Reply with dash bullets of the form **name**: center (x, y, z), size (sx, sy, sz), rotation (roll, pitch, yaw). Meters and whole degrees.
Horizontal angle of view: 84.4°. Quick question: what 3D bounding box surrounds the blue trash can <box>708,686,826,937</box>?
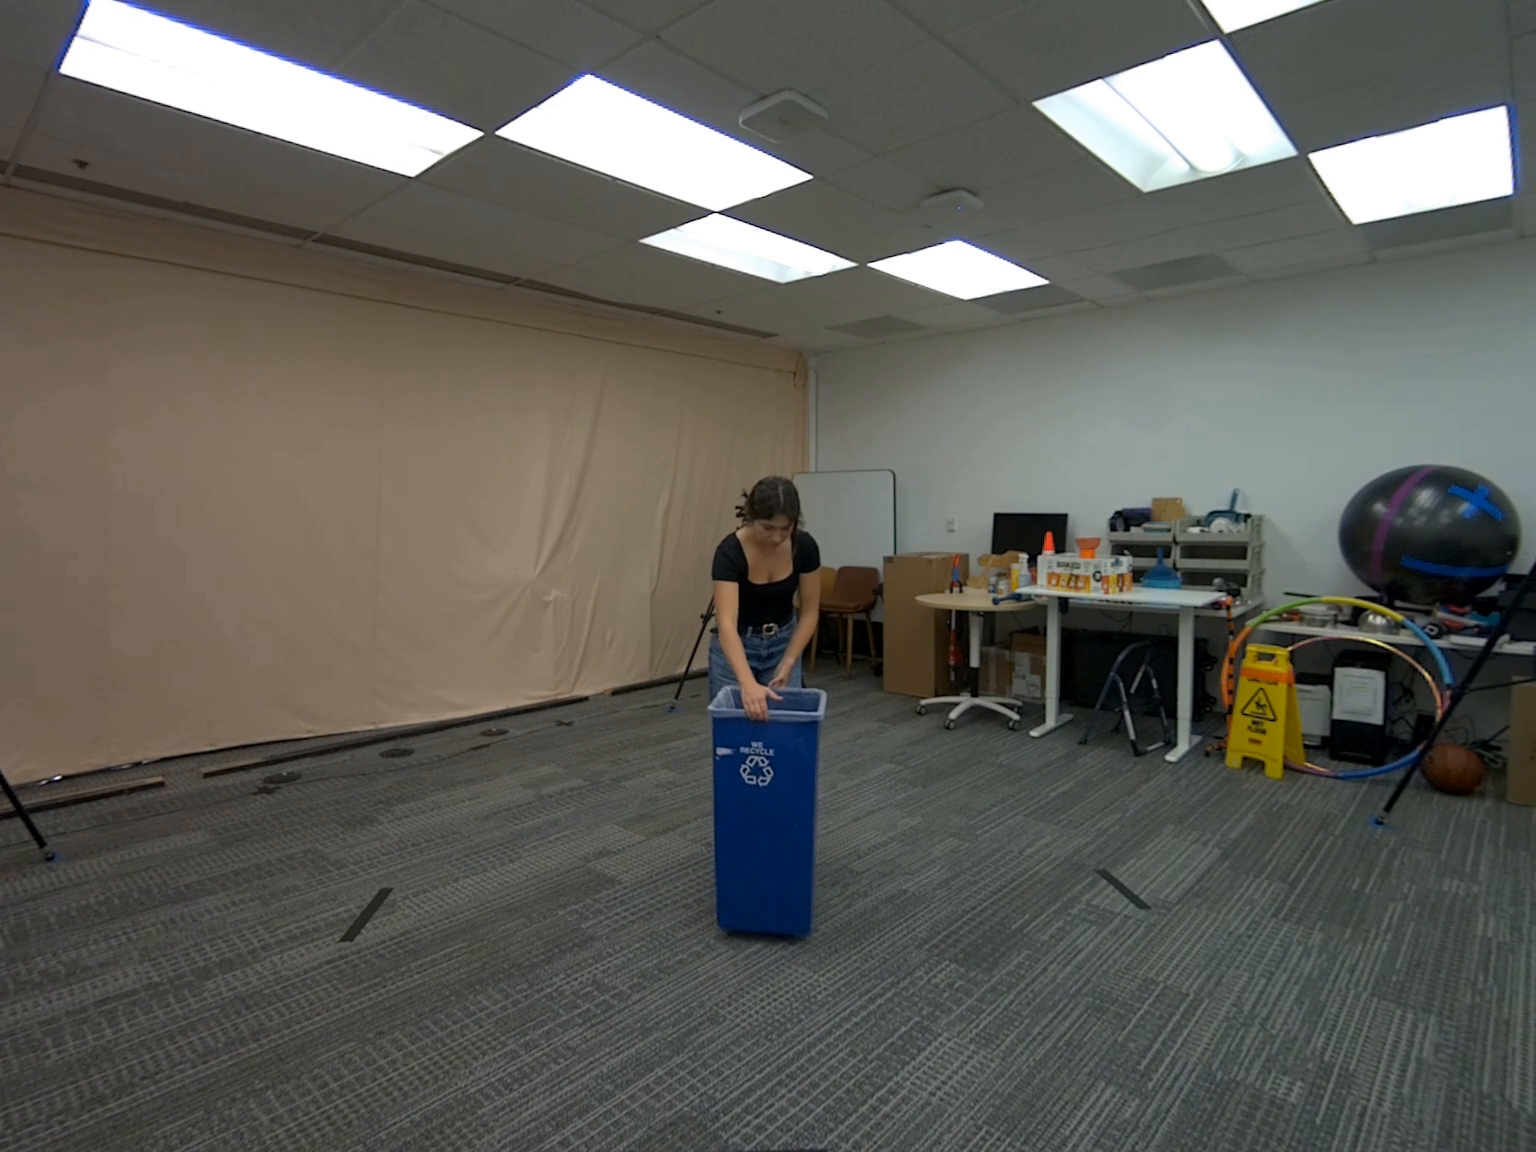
- **blue trash can**: center (0.011, 0.760, 2.813), size (0.377, 0.712, 0.376), rotation (0, 3, 6)
